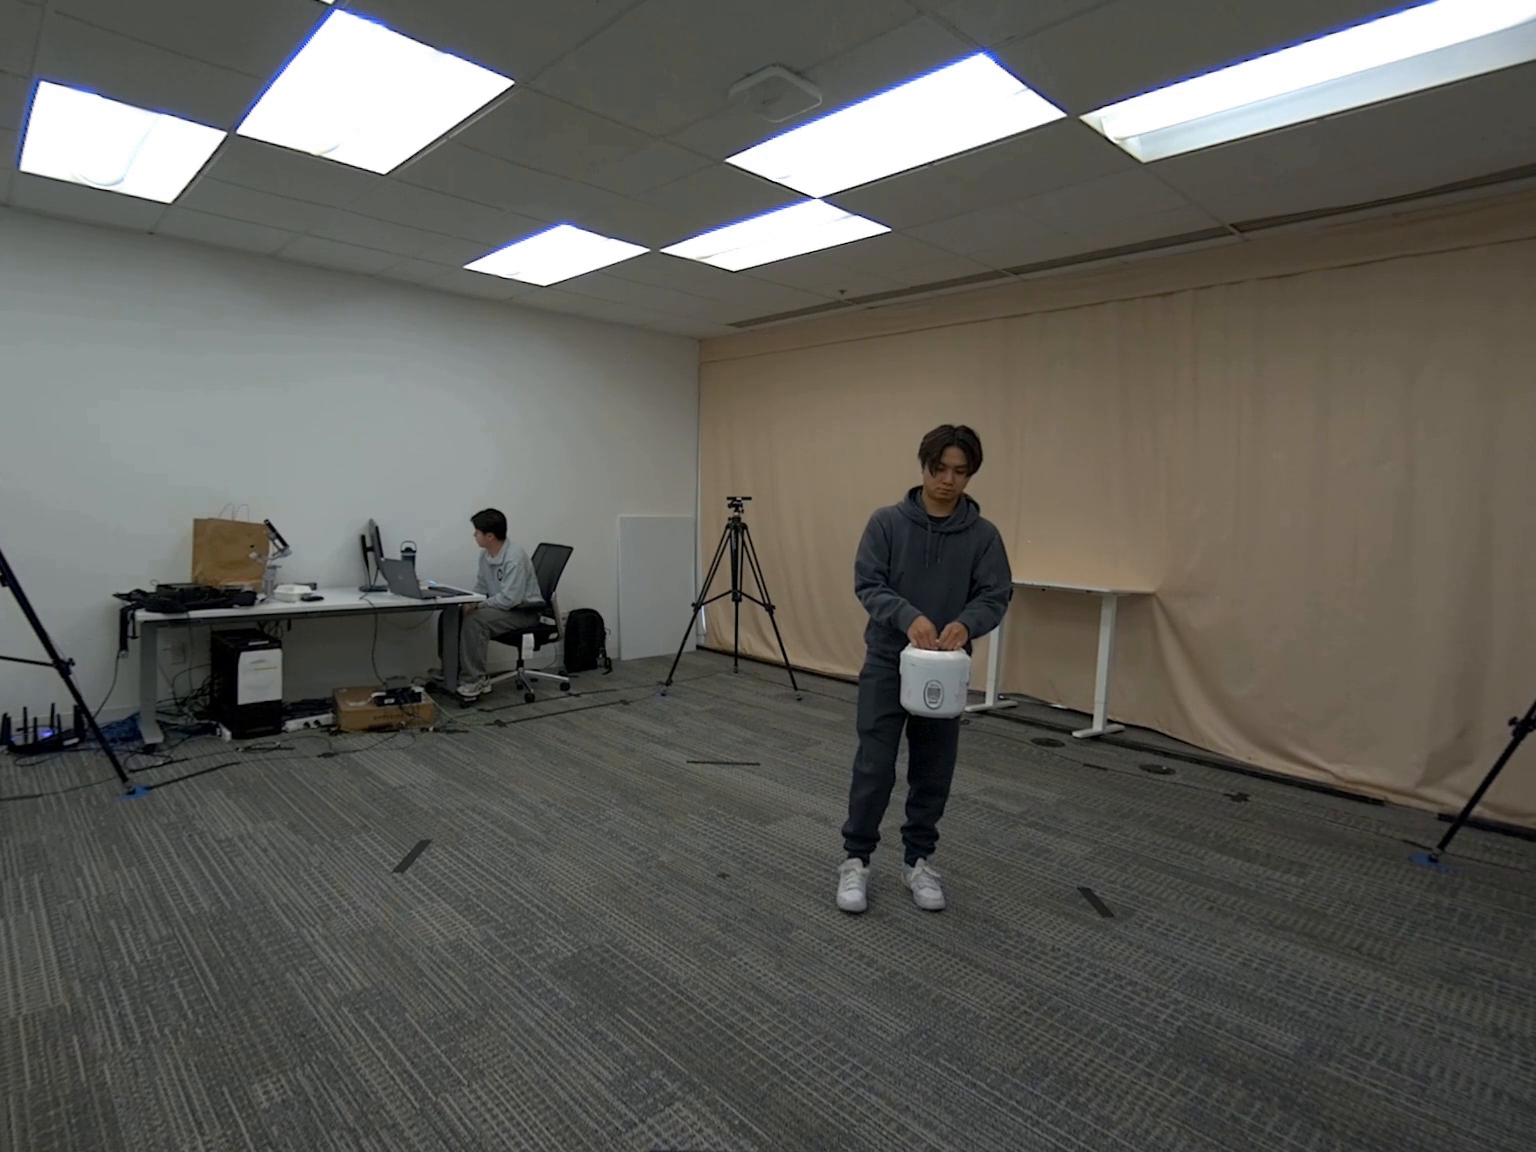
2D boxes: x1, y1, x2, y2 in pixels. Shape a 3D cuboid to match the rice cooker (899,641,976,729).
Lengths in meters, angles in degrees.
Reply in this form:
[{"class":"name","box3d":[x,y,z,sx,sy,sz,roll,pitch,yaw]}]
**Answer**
[{"class":"rice cooker","box3d":[0.521,0.322,2.656,0.223,0.232,0.215,5,3,12]}]
